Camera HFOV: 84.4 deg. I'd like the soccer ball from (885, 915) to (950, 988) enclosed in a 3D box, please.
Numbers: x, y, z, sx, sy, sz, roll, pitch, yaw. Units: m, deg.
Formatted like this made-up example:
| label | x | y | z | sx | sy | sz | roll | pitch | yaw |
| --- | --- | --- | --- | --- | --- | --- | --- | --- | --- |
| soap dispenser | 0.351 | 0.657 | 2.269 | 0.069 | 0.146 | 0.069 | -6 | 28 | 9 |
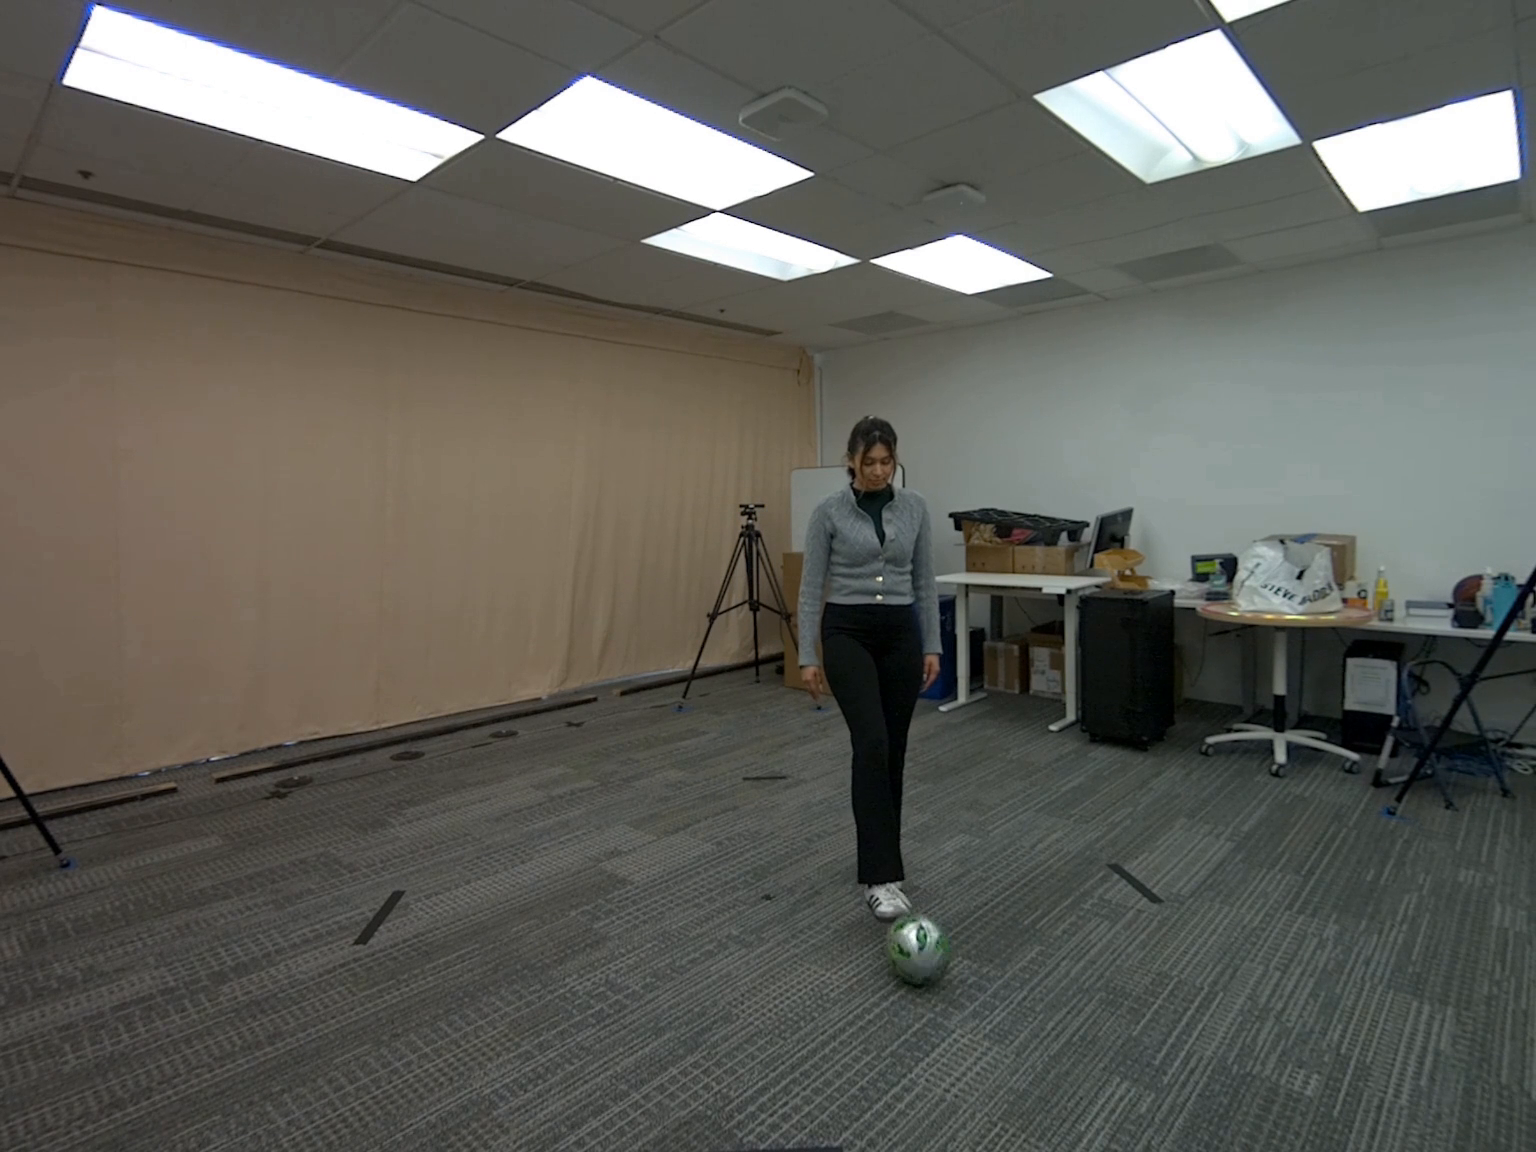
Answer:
| label | x | y | z | sx | sy | sz | roll | pitch | yaw |
| --- | --- | --- | --- | --- | --- | --- | --- | --- | --- |
| soccer ball | 0.434 | 1.077 | 2.458 | 0.187 | 0.187 | 0.188 | -1 | 4 | -2 |
